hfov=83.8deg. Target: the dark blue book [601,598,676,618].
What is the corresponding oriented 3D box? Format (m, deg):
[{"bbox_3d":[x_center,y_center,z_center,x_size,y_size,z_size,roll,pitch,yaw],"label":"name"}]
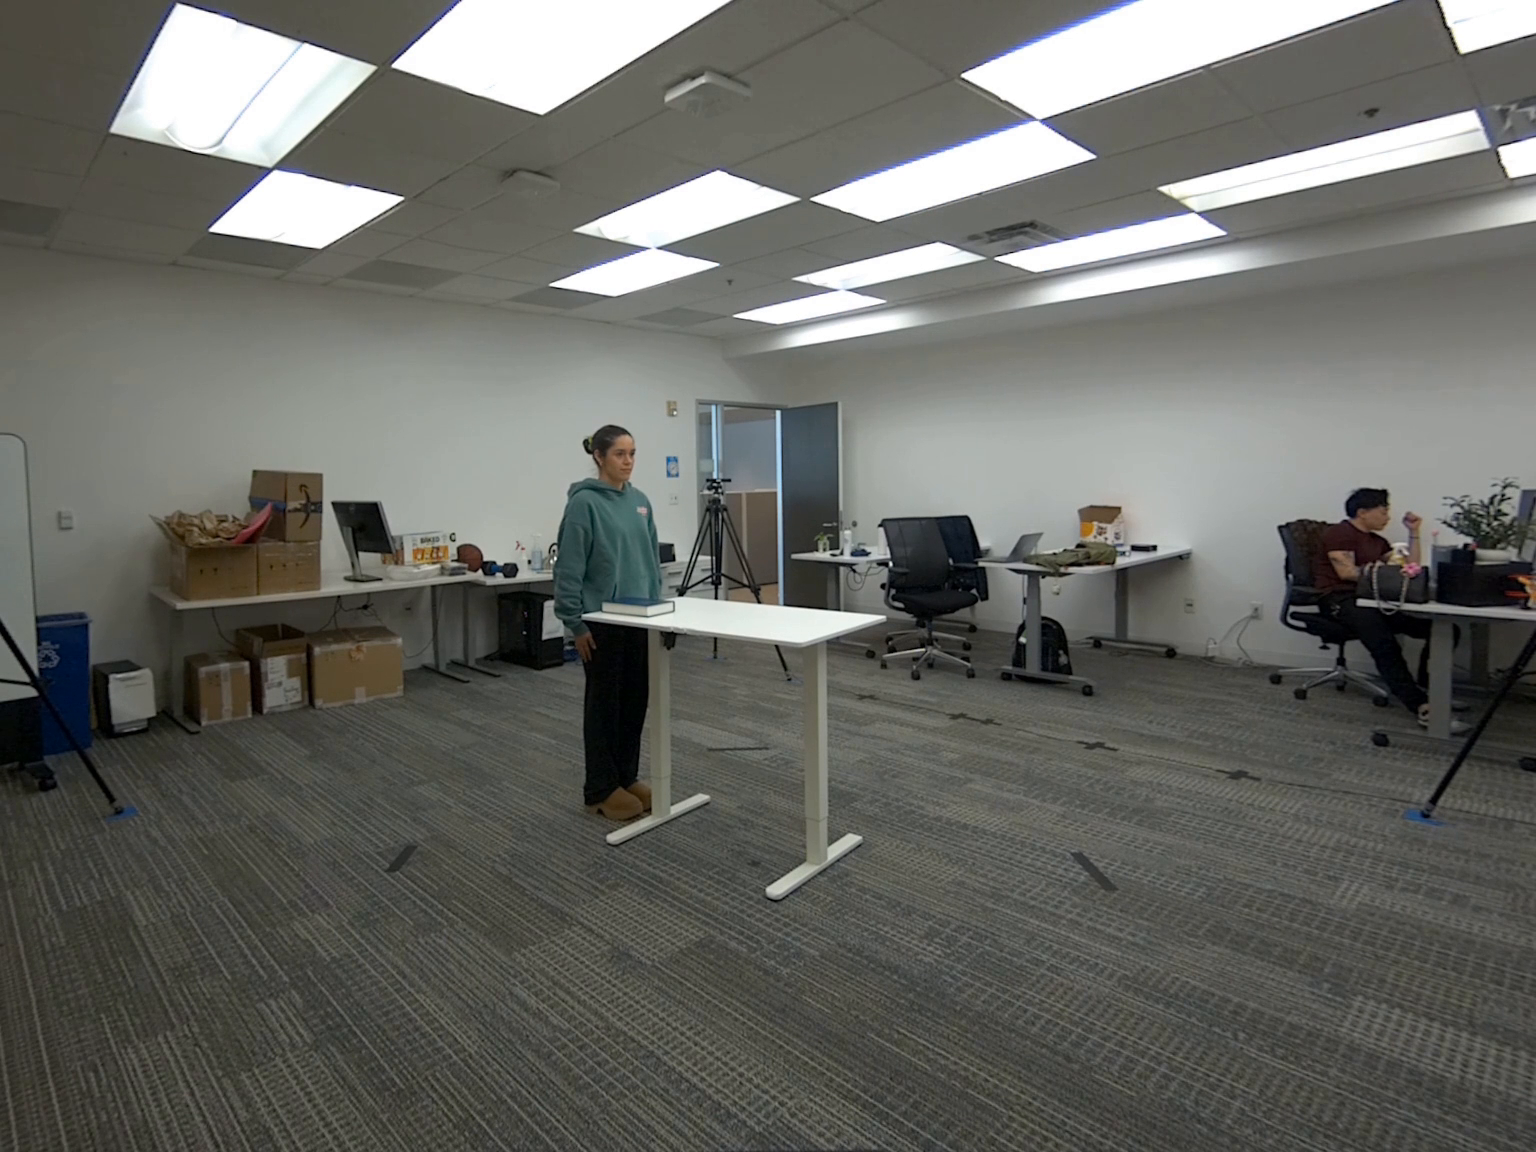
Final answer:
[{"bbox_3d":[-0.514,0.123,3.350,0.252,0.045,0.159,3,7,33],"label":"dark blue book"}]
